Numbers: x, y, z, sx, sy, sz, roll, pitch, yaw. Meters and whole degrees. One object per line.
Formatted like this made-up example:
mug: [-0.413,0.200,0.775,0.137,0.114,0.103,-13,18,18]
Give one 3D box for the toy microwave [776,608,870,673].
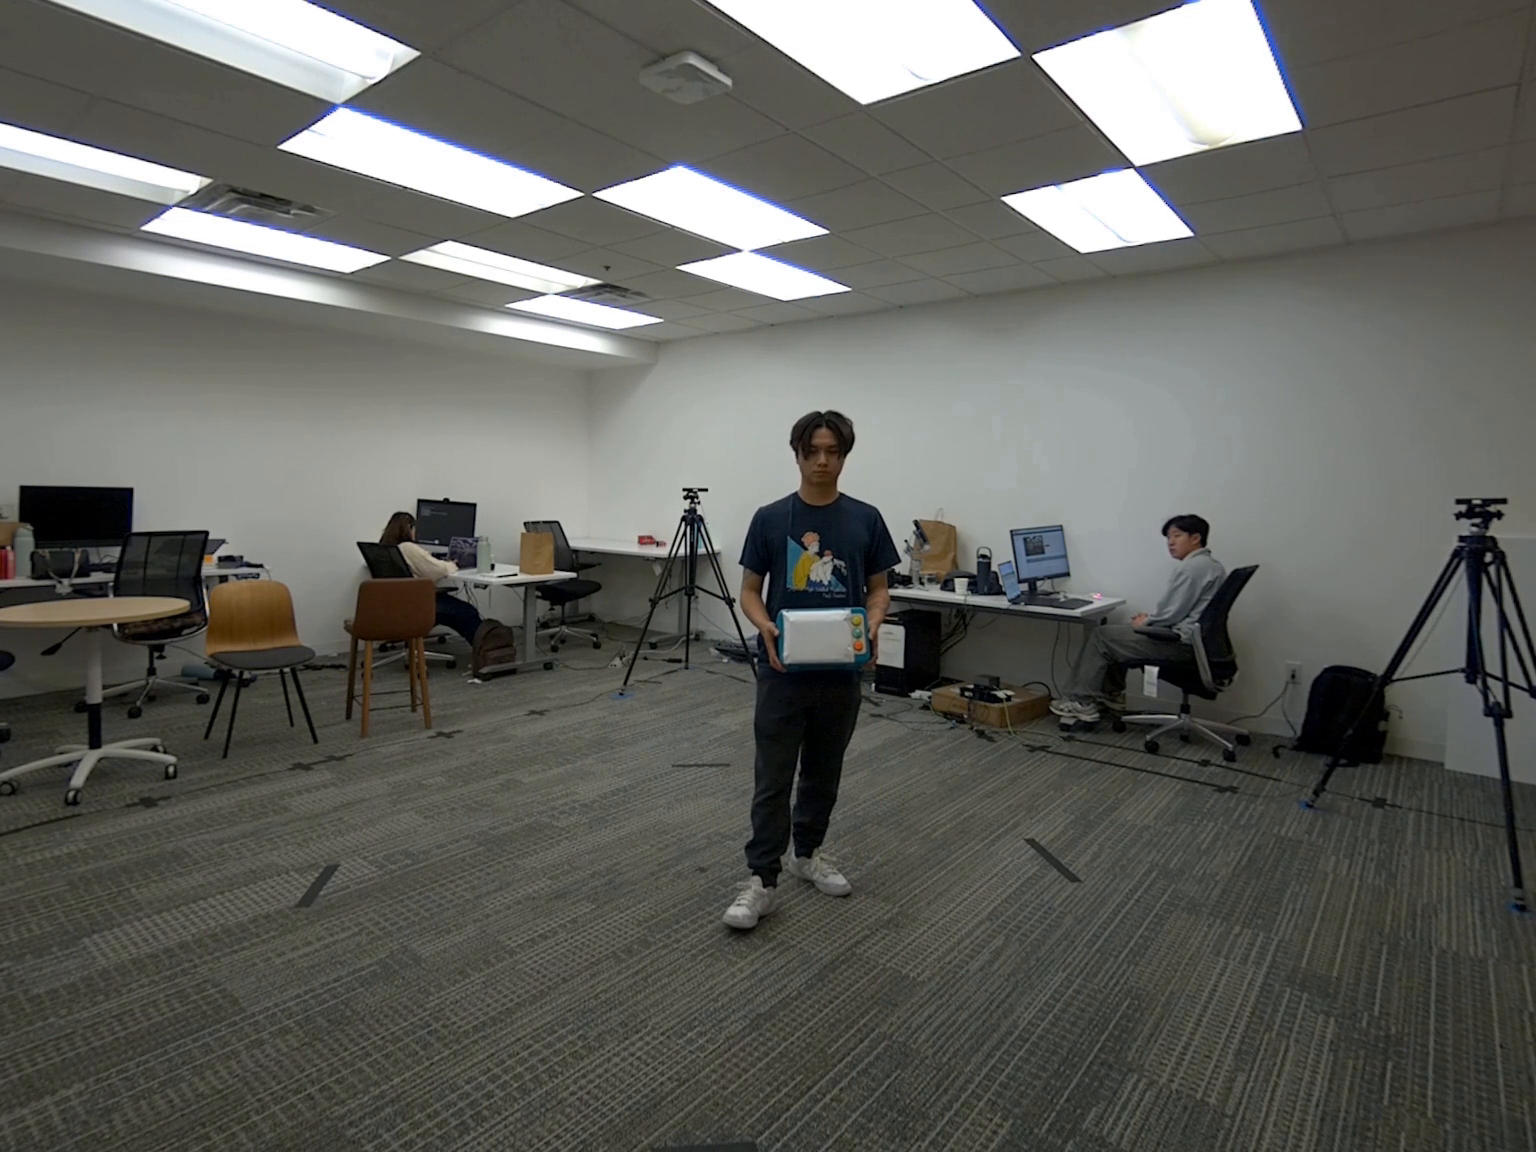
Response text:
toy microwave: [0.171,0.193,2.684,0.286,0.187,0.150,-1,-14,-1]
